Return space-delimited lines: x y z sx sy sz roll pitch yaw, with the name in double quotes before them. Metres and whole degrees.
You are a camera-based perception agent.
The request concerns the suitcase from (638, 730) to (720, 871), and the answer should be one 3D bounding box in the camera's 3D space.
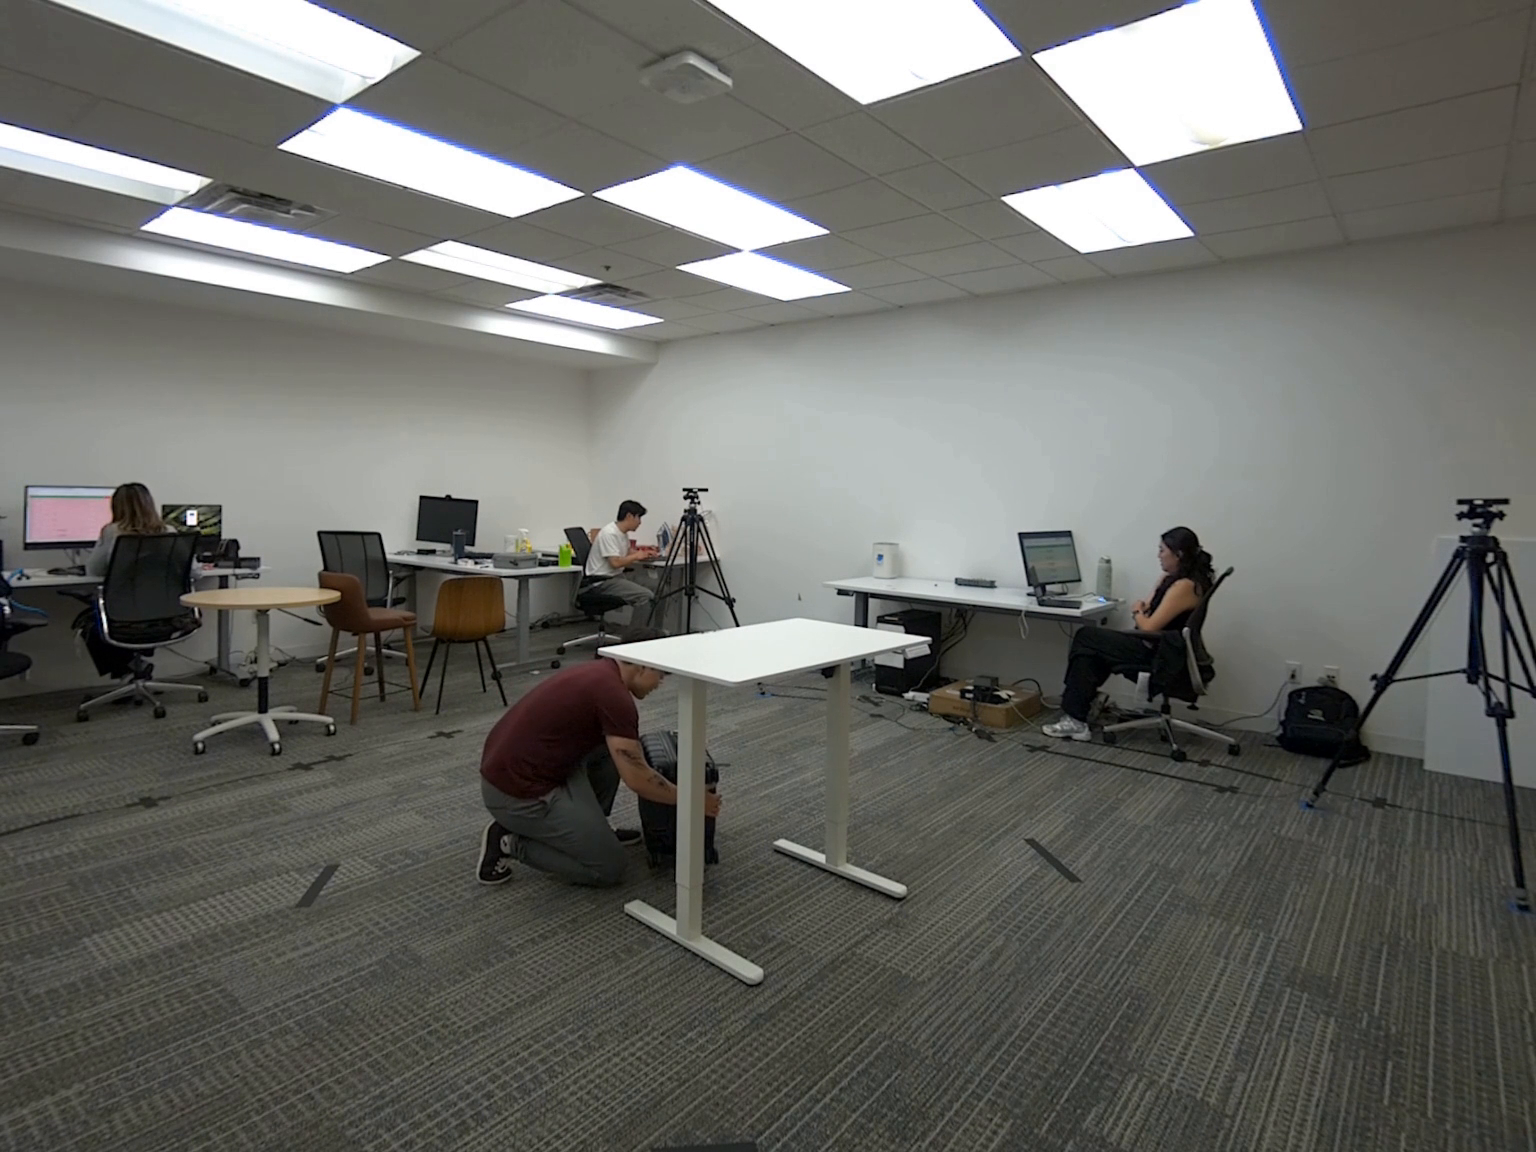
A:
"suitcase" -0.421 0.806 3.465 0.253 0.383 0.994 0 3 -14
